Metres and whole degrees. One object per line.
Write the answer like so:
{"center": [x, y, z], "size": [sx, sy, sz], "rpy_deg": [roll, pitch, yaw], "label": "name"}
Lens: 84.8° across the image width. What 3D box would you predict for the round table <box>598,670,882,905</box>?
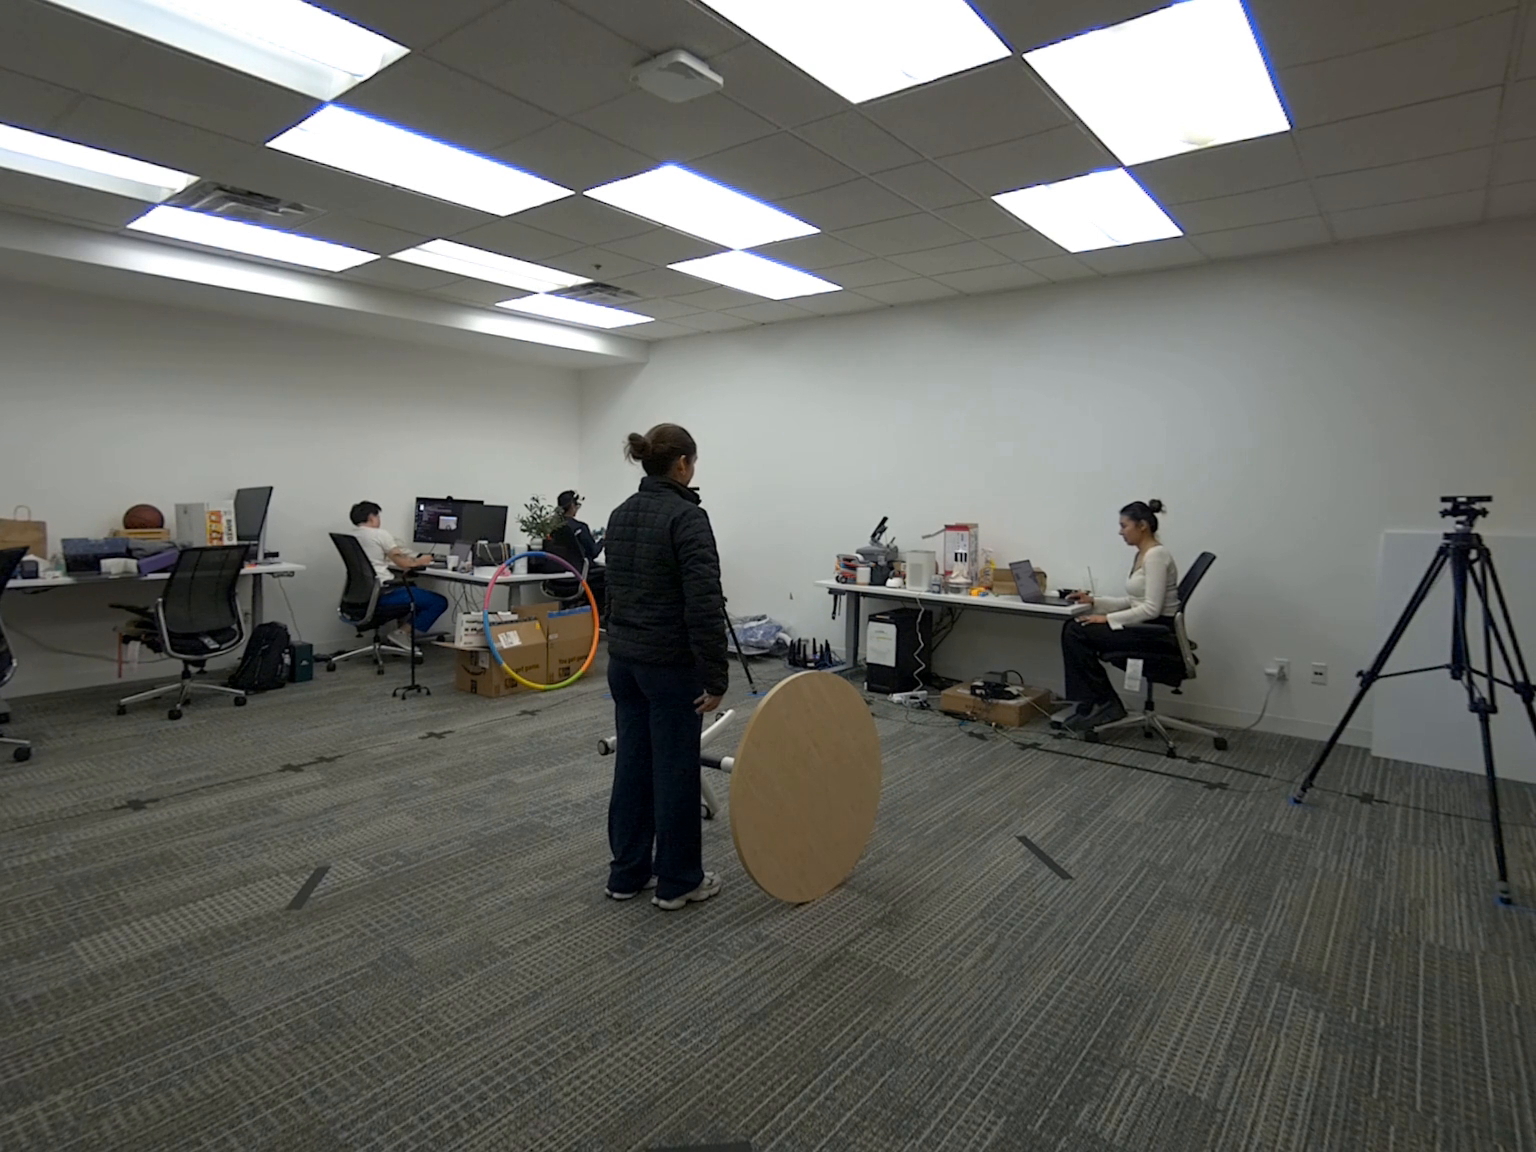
{"center": [-0.118, 0.718, 3.202], "size": [0.761, 0.786, 0.810], "rpy_deg": [-3, 0, -45], "label": "round table"}
